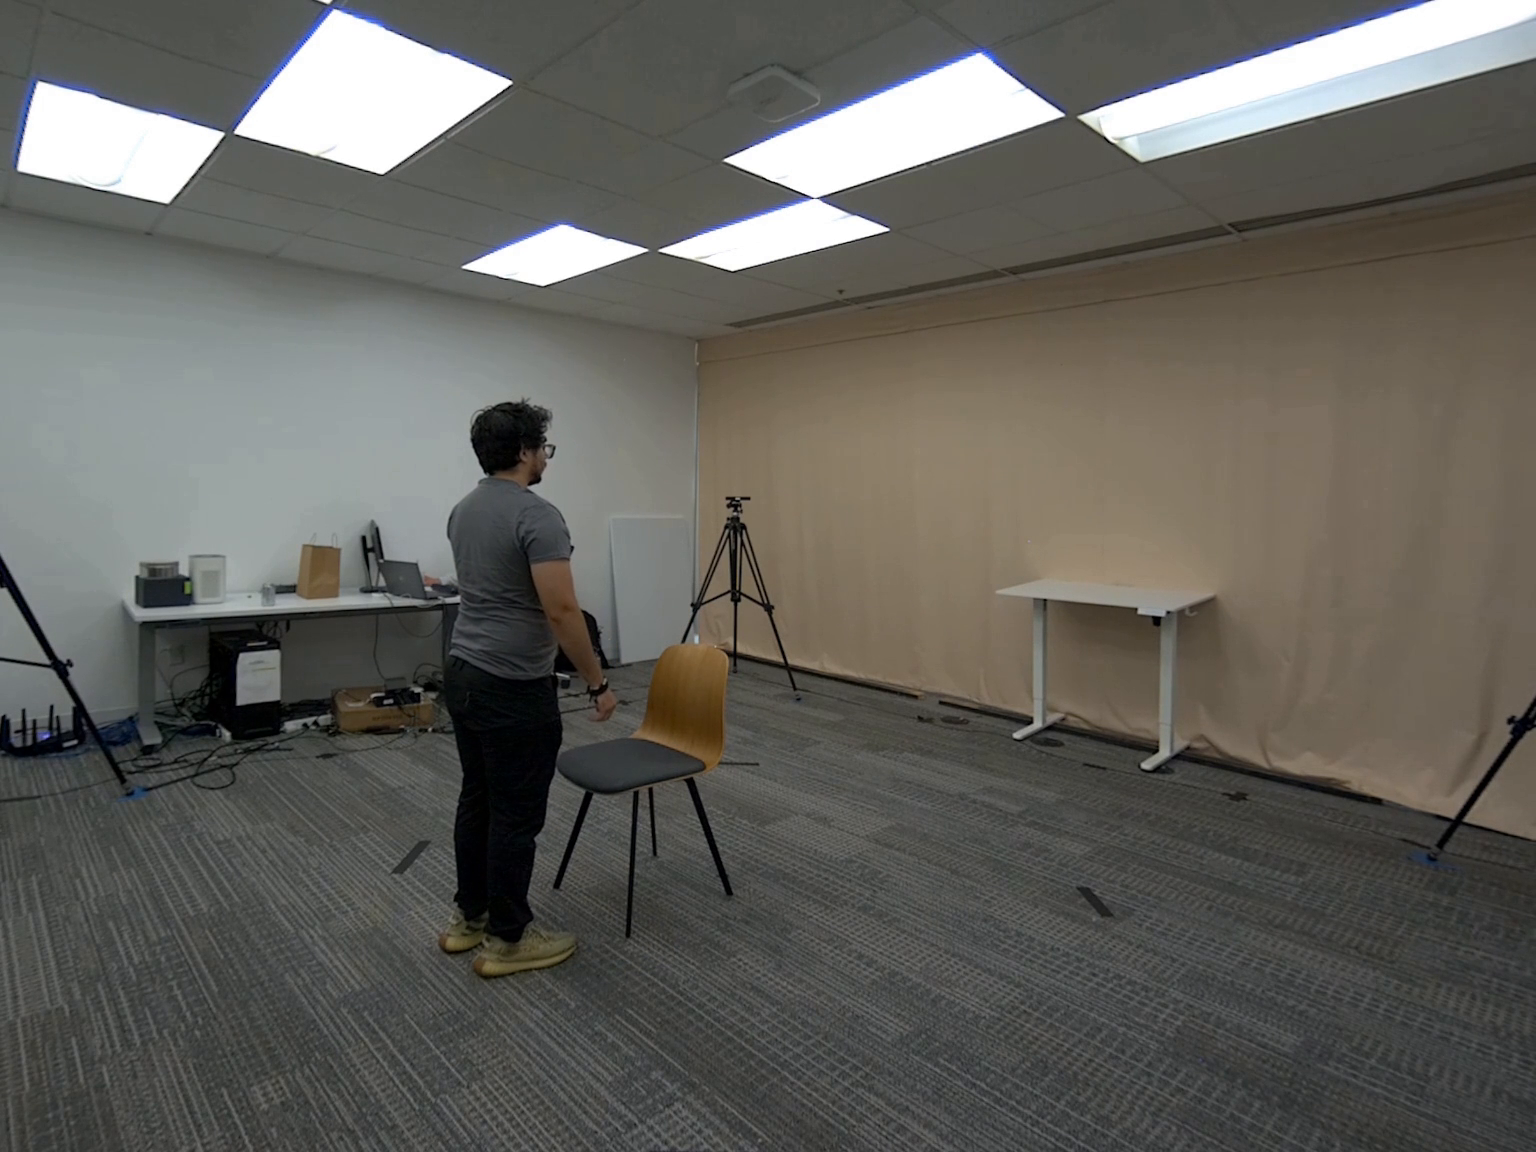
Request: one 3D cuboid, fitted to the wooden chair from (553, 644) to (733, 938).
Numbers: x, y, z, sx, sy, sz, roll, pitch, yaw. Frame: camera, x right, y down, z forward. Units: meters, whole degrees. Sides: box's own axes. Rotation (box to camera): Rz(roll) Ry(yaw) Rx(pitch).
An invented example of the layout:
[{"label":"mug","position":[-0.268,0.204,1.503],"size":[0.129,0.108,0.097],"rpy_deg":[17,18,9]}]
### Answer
[{"label":"wooden chair","position":[-0.440,0.691,2.929],"size":[0.510,0.877,0.490],"rpy_deg":[4,1,-44]}]
